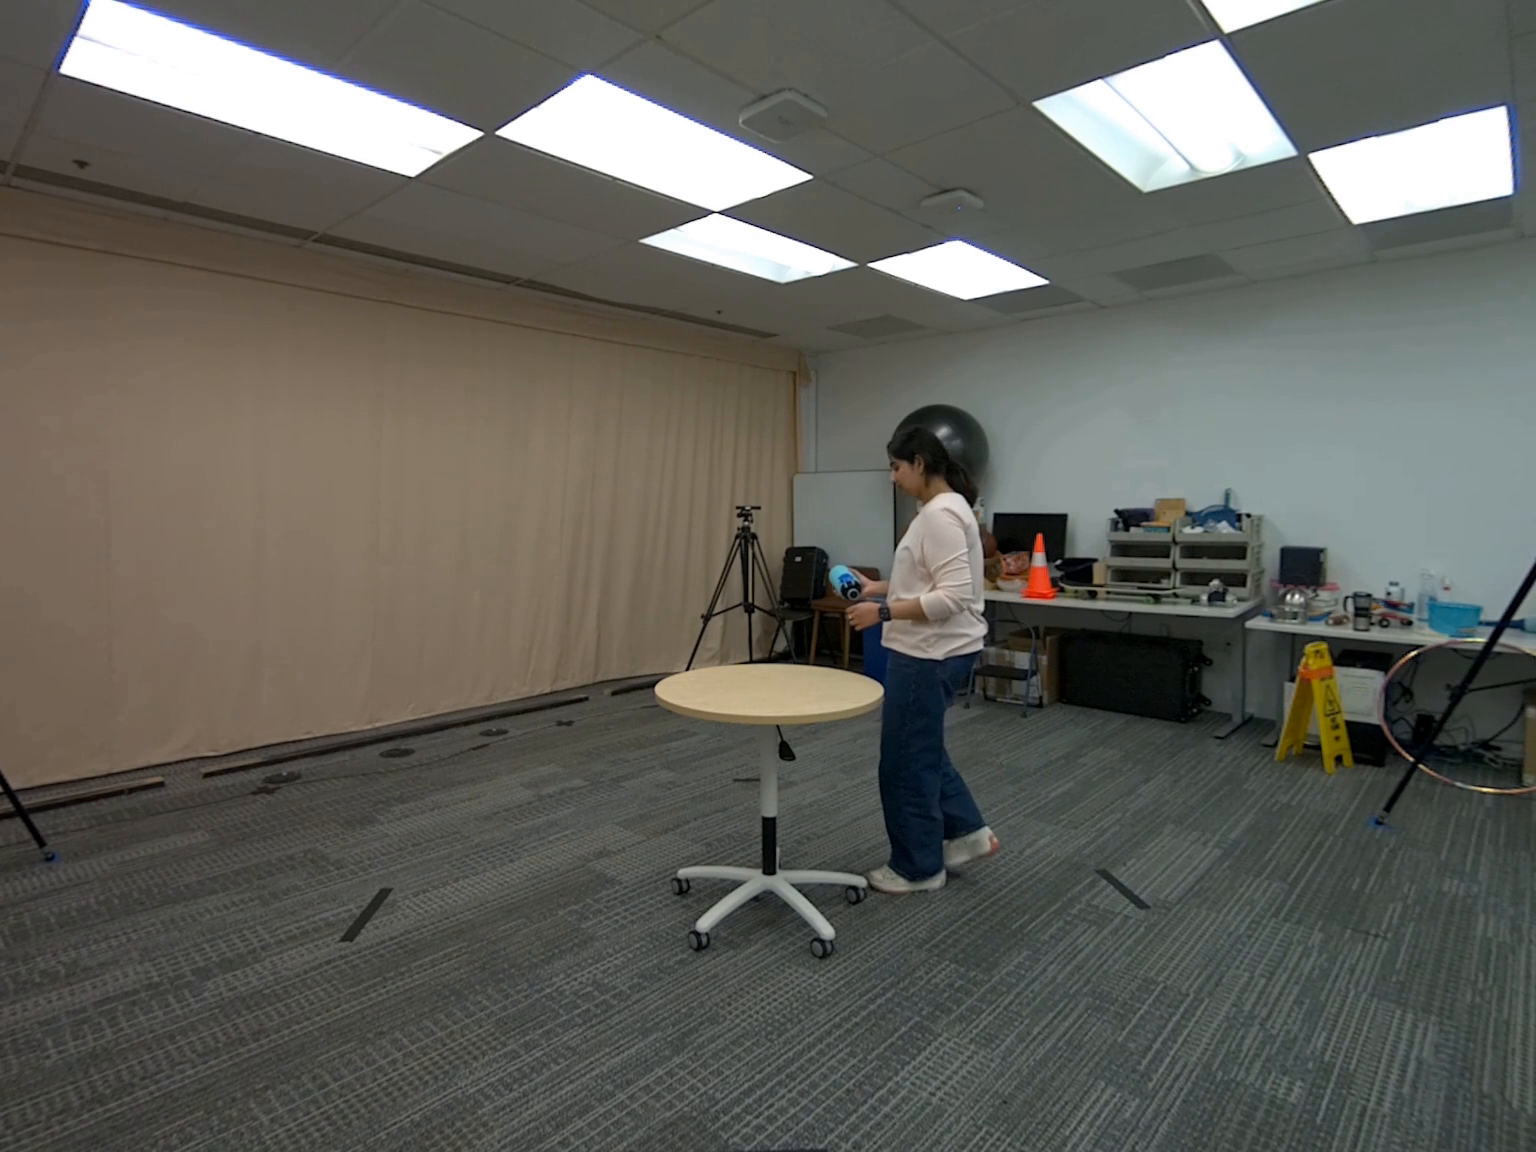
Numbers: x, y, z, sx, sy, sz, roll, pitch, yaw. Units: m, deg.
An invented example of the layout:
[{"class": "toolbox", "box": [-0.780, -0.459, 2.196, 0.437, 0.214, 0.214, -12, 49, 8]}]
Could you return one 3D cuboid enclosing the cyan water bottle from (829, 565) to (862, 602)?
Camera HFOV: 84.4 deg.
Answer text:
[{"class": "cyan water bottle", "box": [0.316, 0.033, 3.232, 0.092, 0.091, 0.286, 0, 12, -3]}]
